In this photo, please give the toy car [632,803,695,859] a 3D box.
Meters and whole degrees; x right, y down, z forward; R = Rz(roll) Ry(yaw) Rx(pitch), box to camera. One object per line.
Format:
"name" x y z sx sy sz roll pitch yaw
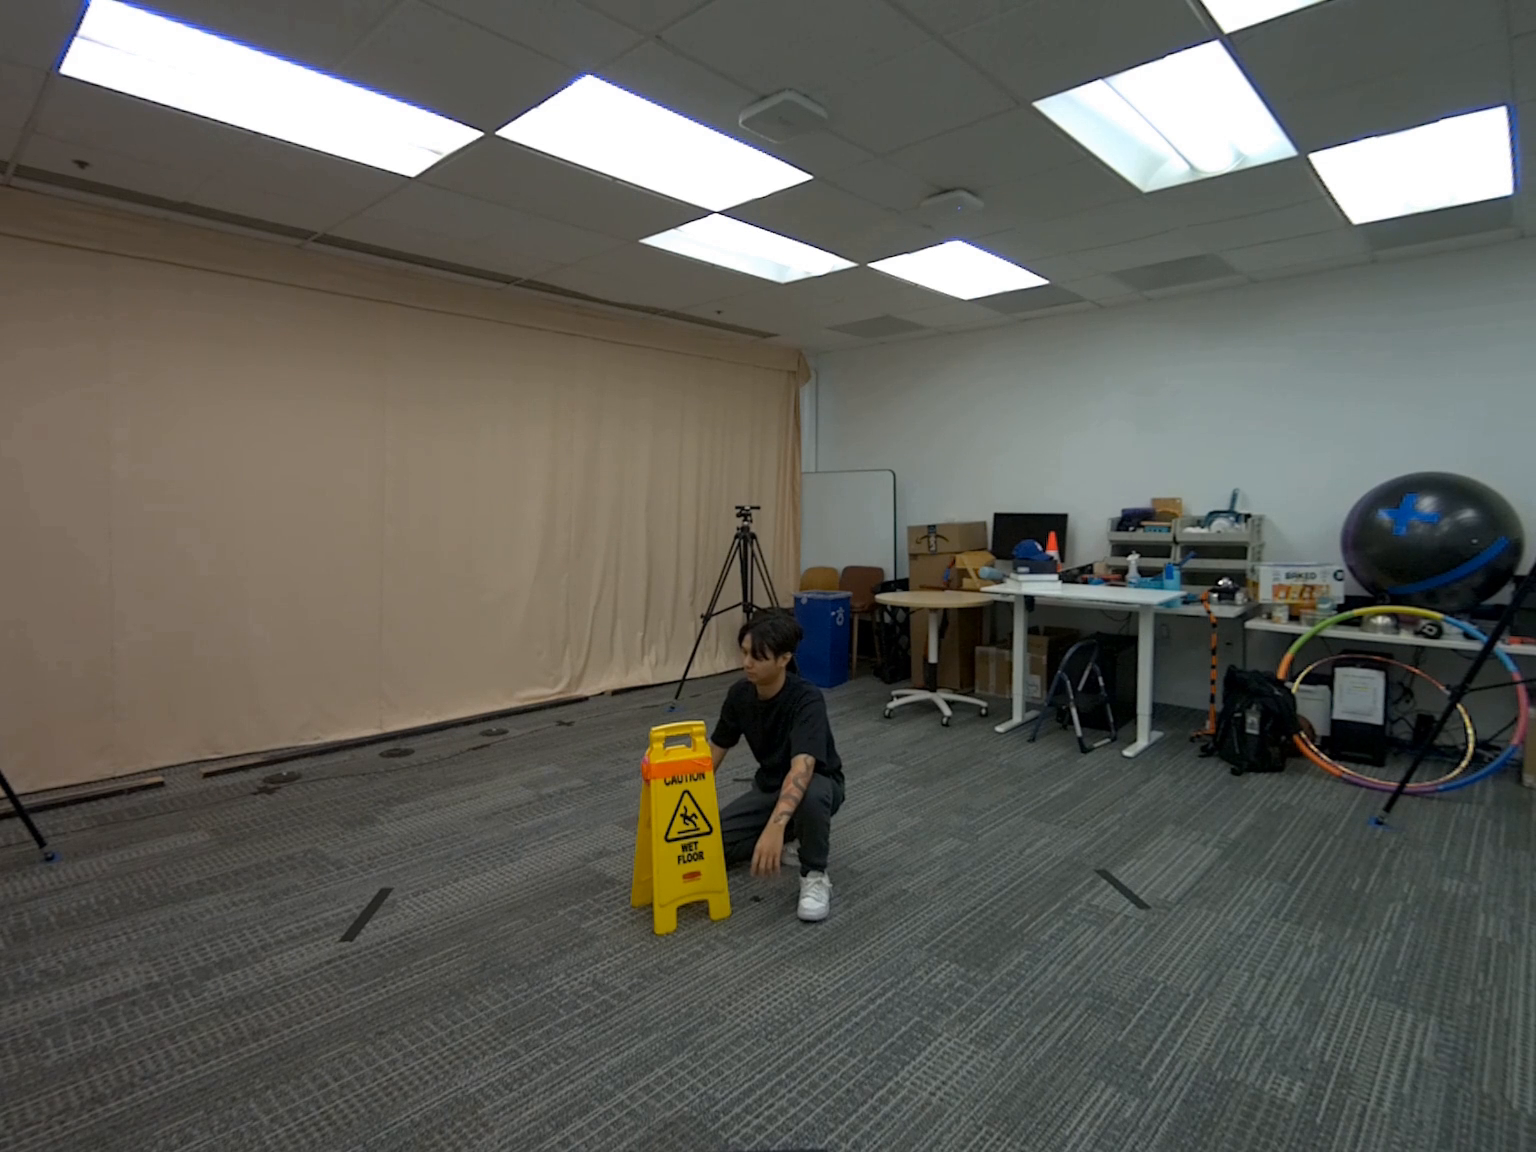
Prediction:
"toy car" -0.404 0.985 3.274 0.132 0.085 0.246 -20 -46 15
